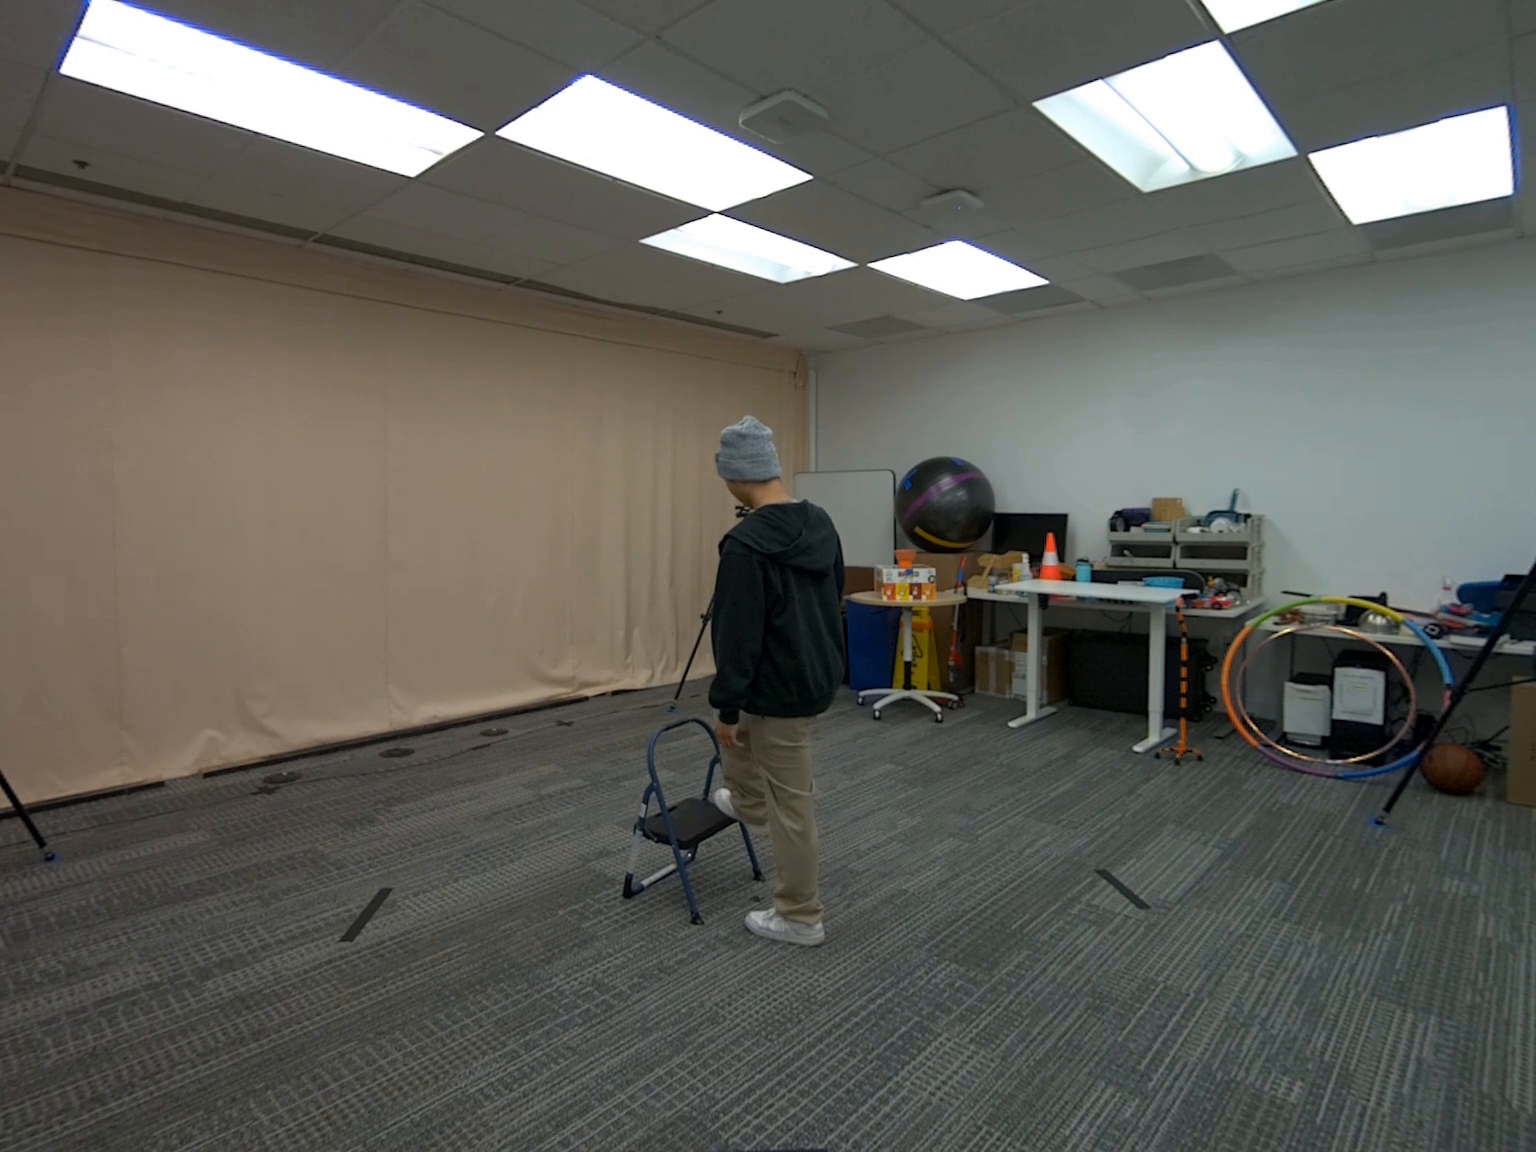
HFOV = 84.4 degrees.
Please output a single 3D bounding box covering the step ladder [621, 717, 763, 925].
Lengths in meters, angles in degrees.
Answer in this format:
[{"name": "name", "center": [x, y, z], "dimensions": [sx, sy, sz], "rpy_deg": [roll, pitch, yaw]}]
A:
[{"name": "step ladder", "center": [-0.271, 0.836, 3.053], "dimensions": [0.360, 0.605, 0.418], "rpy_deg": [1, 4, 33]}]
